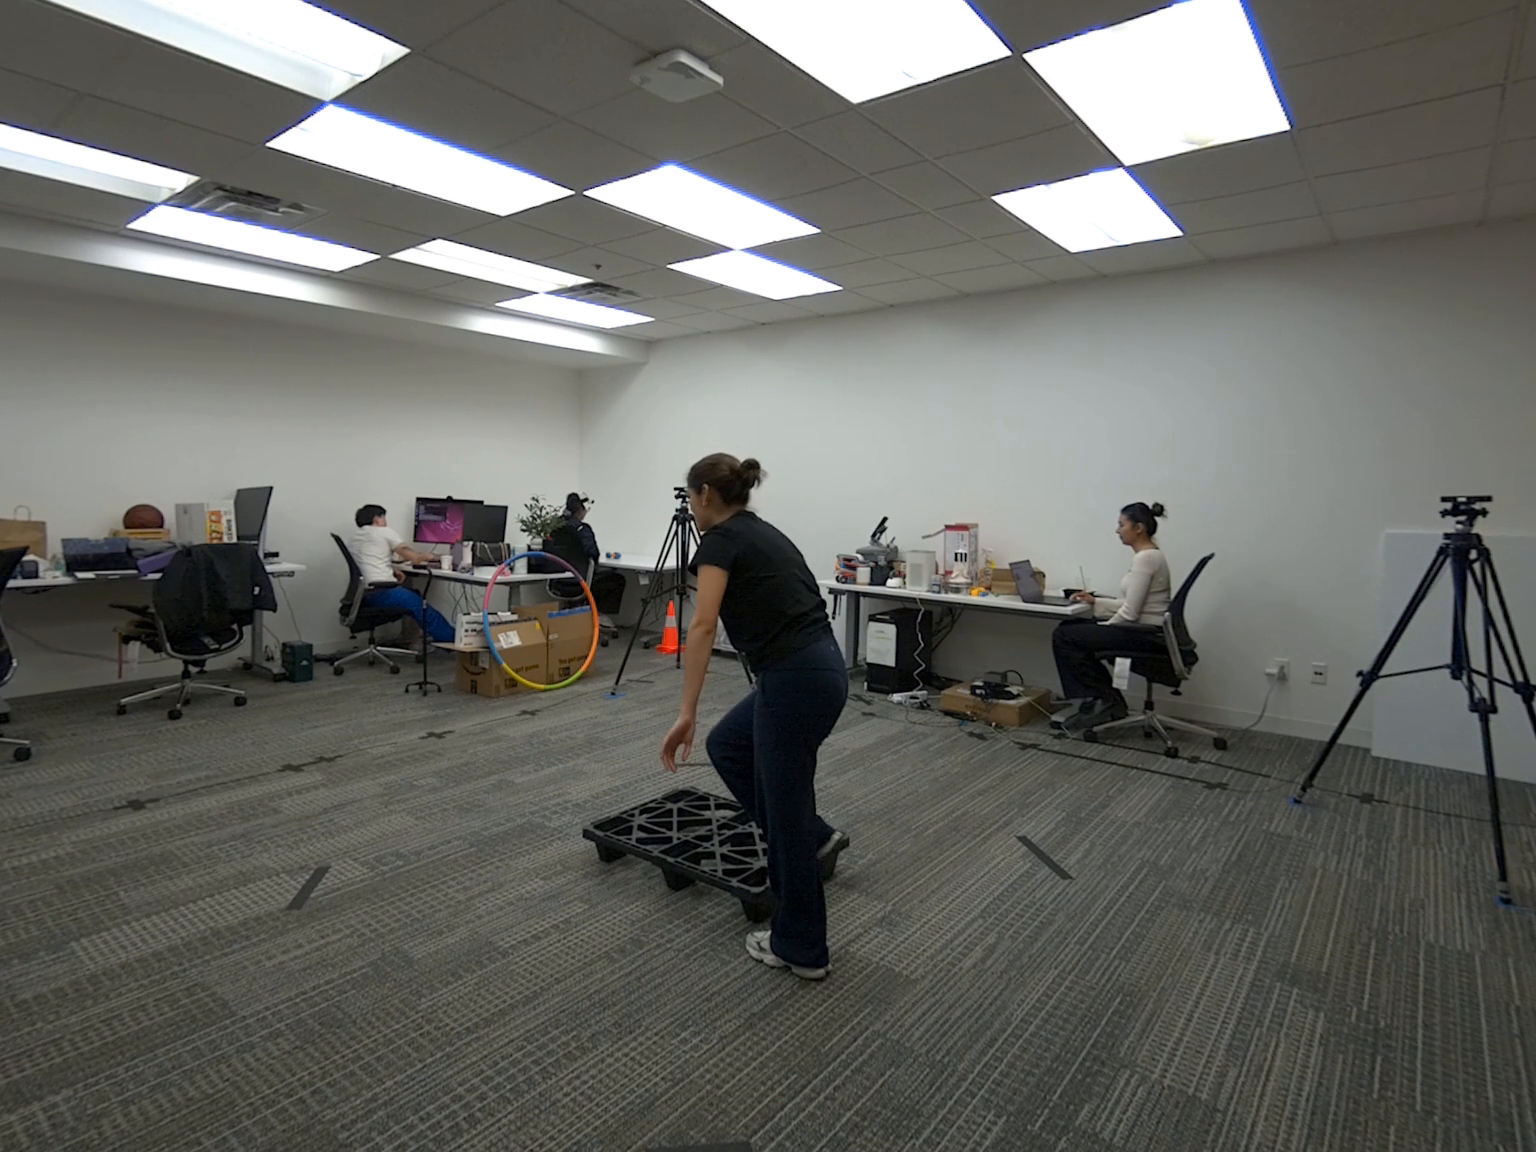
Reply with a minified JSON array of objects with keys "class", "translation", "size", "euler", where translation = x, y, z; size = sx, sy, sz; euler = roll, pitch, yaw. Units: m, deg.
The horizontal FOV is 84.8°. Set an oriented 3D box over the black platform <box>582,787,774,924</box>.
[{"class":"black platform","translation":[-0.180,0.998,3.127],"size":[0.832,0.143,0.588],"euler":[5,7,37]}]
